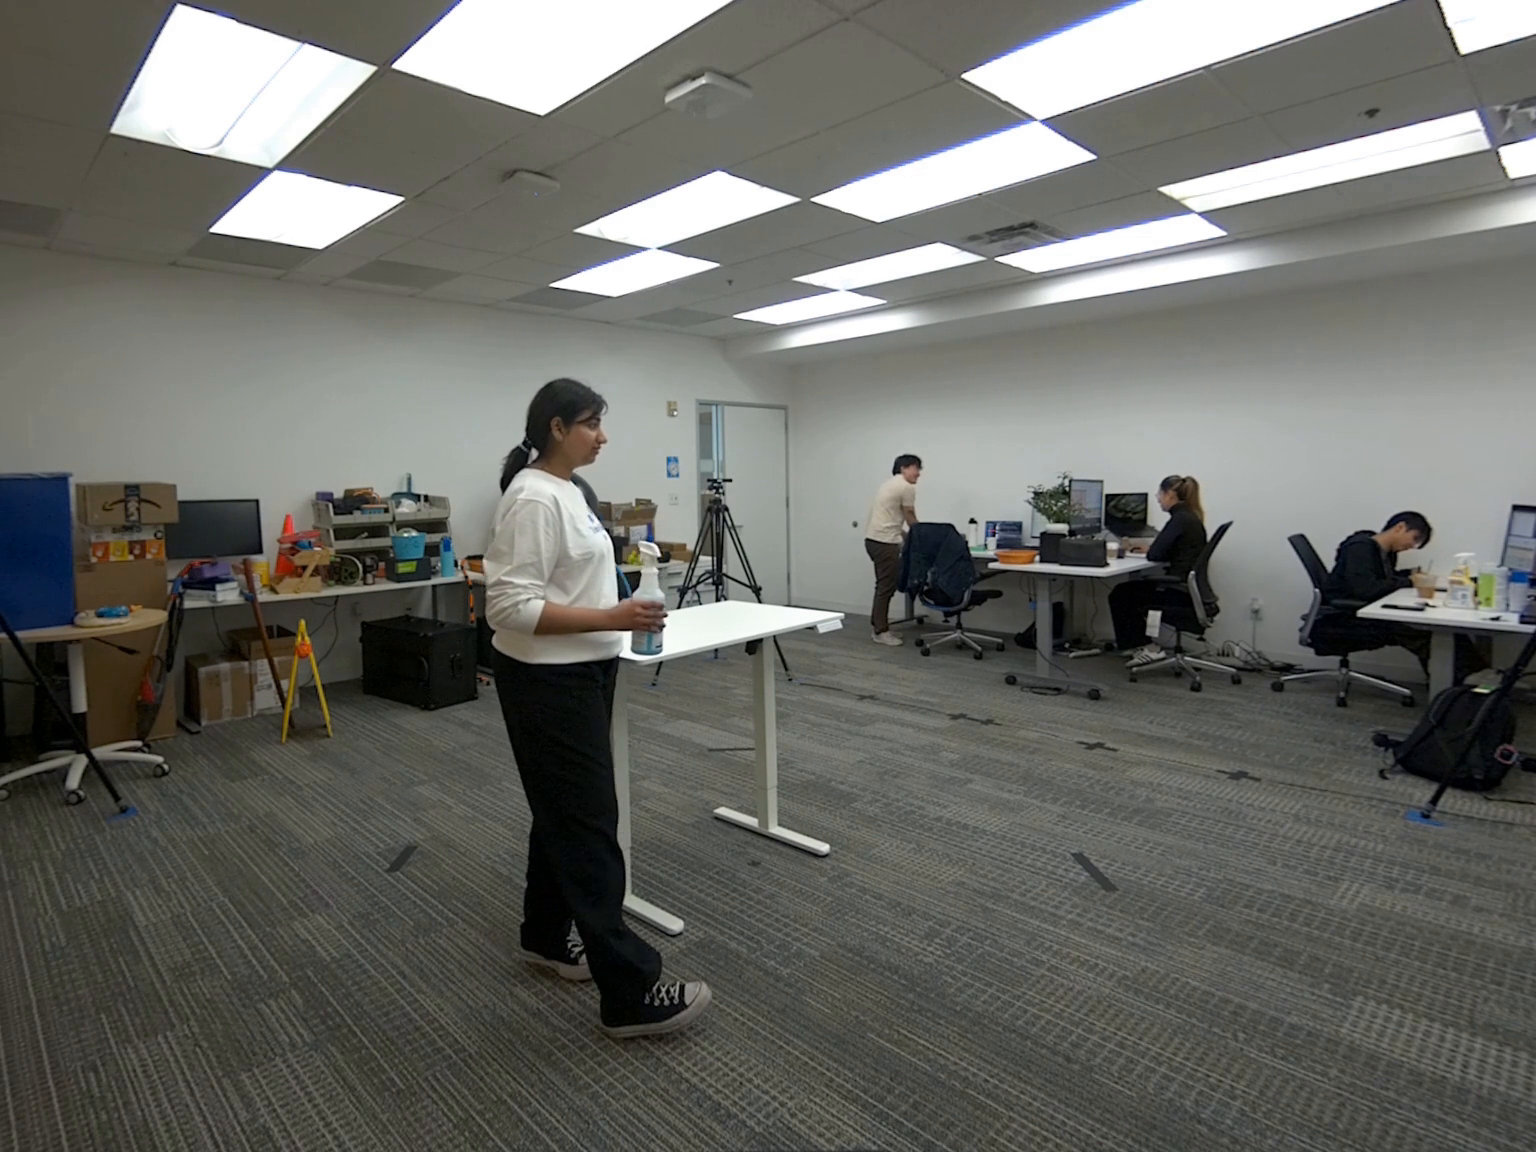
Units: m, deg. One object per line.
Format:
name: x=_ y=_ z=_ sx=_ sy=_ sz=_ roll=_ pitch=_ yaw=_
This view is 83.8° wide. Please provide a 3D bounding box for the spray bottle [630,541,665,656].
spray bottle: x=-0.321 y=0.058 z=2.275 sx=0.086 sy=0.296 sz=0.092 roll=1 pitch=6 yaw=-16
